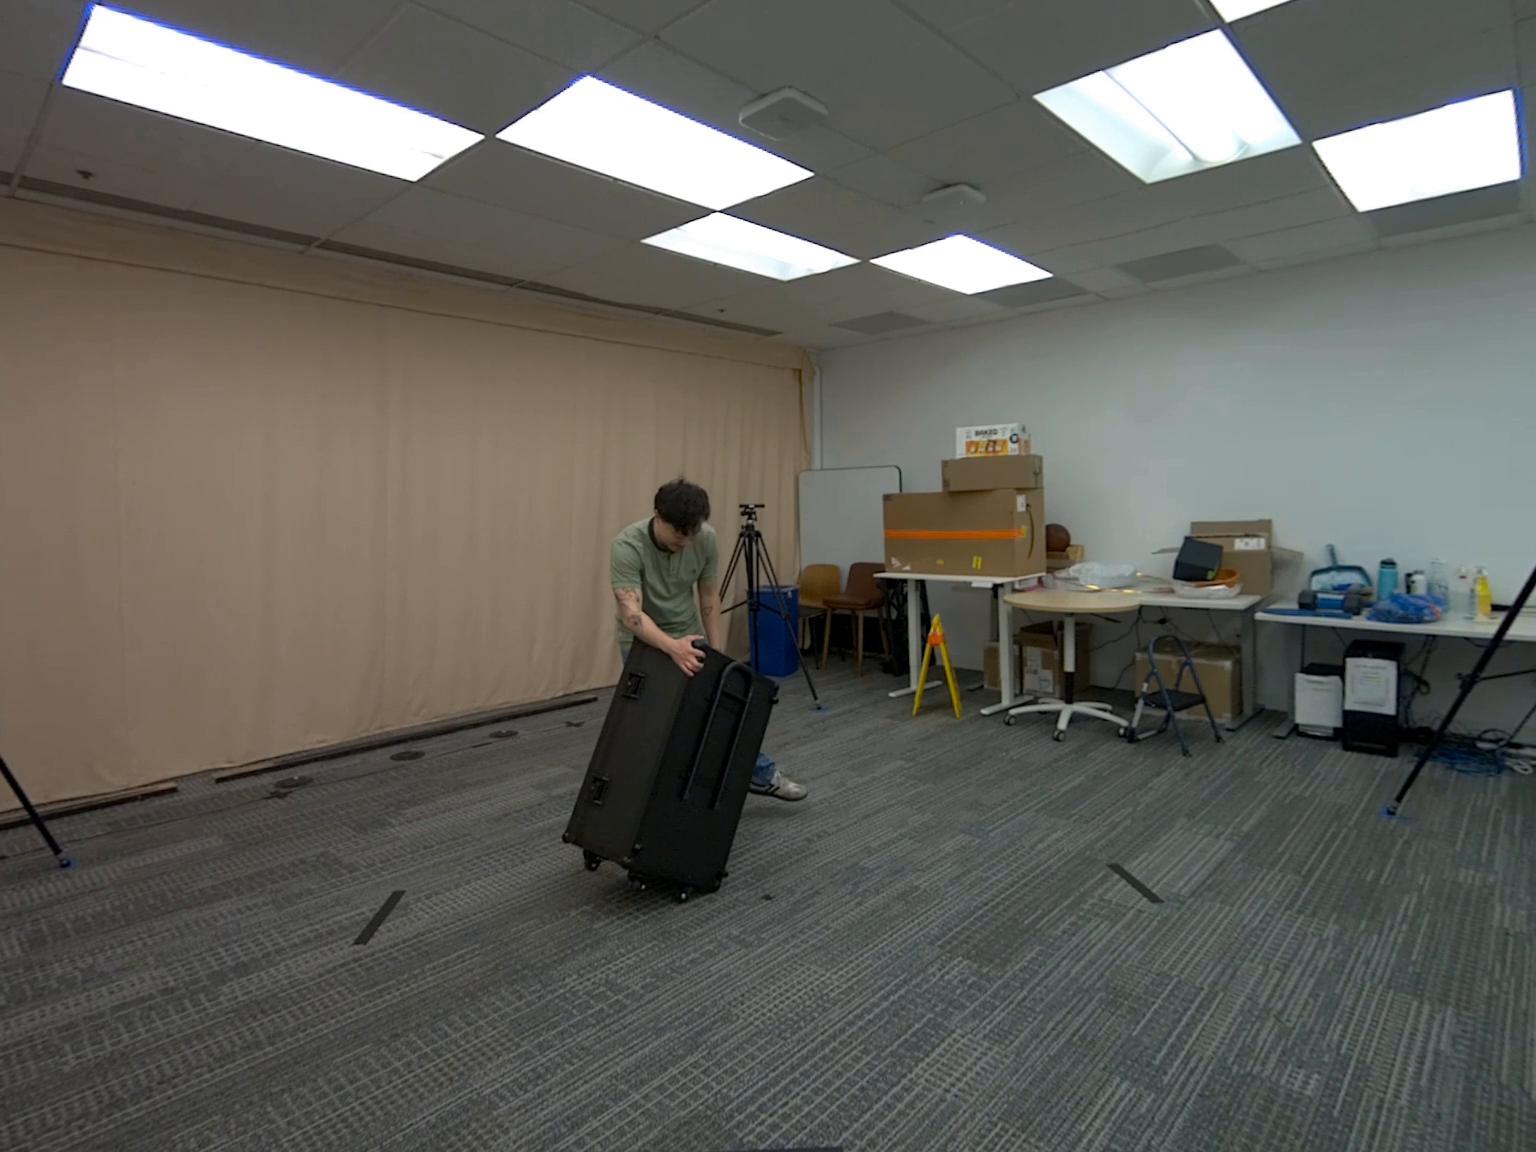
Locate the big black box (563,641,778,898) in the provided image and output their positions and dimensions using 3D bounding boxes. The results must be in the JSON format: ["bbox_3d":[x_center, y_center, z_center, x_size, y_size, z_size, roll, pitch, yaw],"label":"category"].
[{"bbox_3d":[-0.330,0.707,3.095,0.409,0.864,0.502,3,-23,44],"label":"big black box"}]
